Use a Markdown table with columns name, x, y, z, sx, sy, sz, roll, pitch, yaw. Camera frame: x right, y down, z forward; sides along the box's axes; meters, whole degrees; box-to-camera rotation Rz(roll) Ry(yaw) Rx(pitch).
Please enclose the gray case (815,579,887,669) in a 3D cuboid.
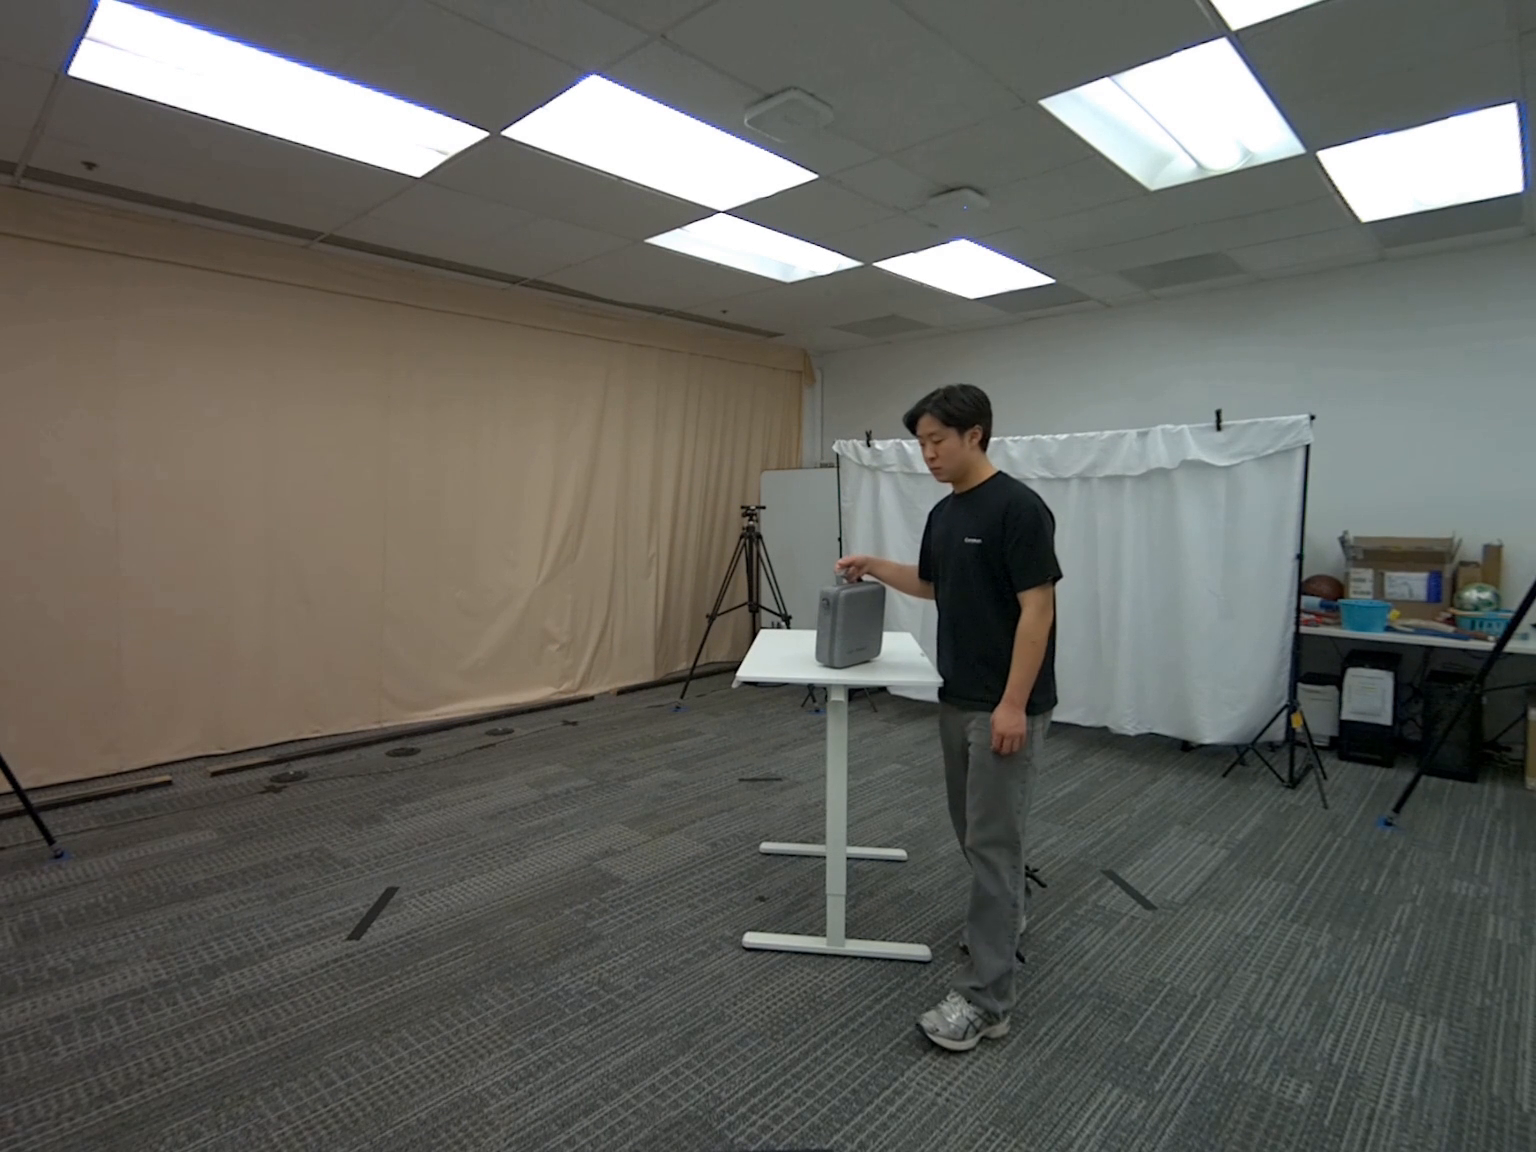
| name | x | y | z | sx | sy | sz | roll | pitch | yaw |
| --- | --- | --- | --- | --- | --- | --- | --- | --- | --- |
| gray case | 0.270 | 0.140 | 2.683 | 0.106 | 0.286 | 0.255 | 8 | 9 | 41 |
